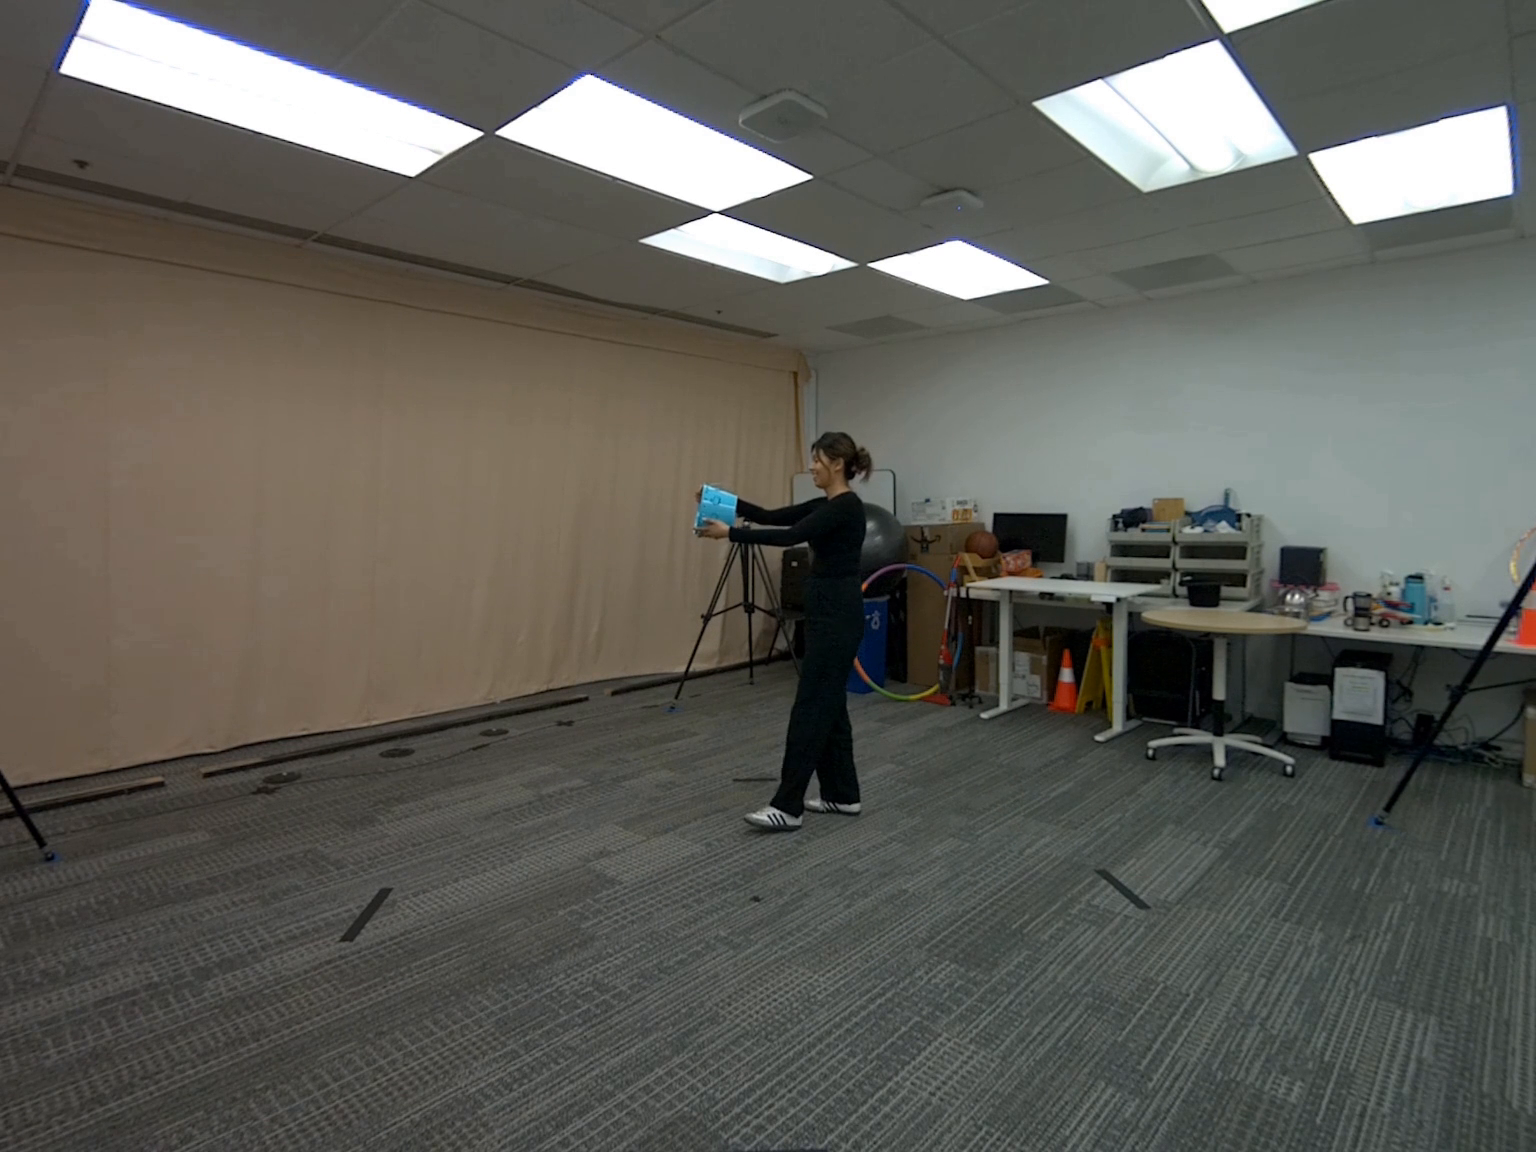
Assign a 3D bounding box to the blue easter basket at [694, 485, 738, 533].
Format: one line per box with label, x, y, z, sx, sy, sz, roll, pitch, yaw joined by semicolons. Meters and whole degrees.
blue easter basket;-0.220;-0.282;3.686;0.155;0.243;0.244;10;3;-4
